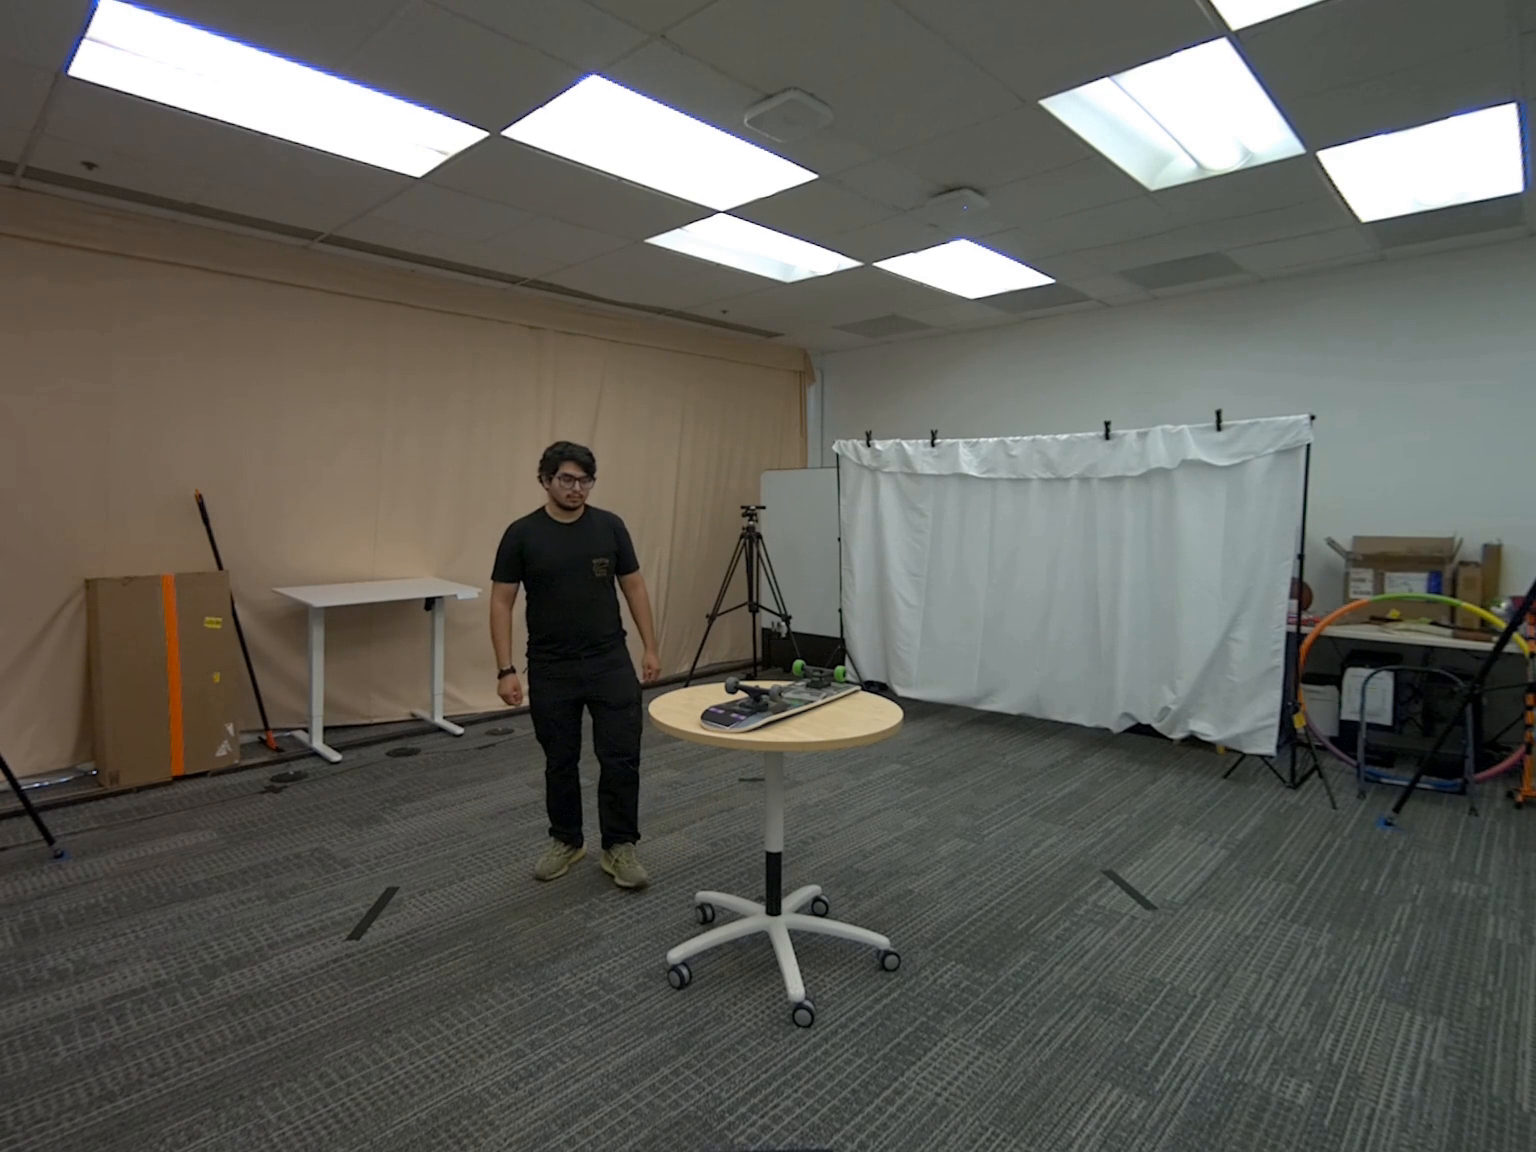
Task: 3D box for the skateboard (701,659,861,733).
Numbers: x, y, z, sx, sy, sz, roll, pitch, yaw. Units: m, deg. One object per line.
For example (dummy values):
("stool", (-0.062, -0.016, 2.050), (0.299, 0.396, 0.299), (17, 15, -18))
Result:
("skateboard", (0.071, 0.355, 2.575), (0.199, 0.110, 0.762), (1, 3, 35))
